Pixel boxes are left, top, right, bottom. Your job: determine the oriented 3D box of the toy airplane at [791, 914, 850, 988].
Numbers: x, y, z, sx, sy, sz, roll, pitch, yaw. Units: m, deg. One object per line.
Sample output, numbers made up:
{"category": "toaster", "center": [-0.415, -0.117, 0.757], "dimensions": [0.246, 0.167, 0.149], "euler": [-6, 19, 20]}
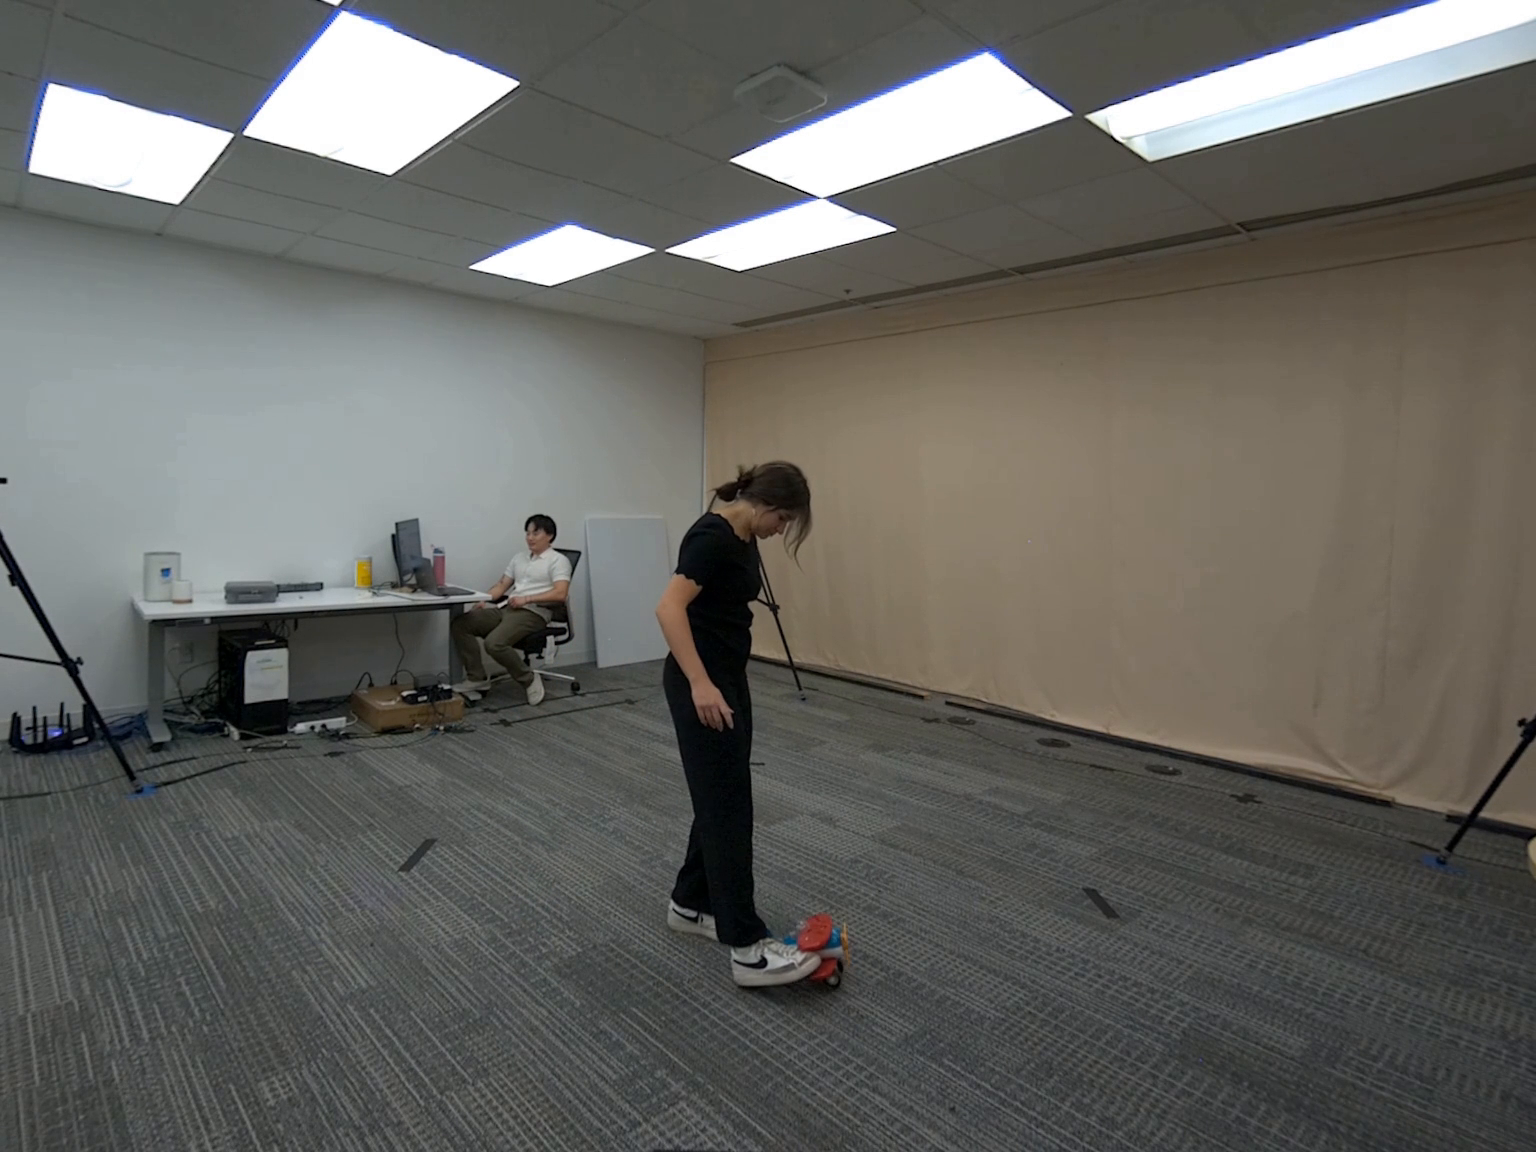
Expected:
{"category": "toy airplane", "center": [0.098, 1.095, 2.424], "dimensions": [0.255, 0.157, 0.254], "euler": [3, -3, -18]}
